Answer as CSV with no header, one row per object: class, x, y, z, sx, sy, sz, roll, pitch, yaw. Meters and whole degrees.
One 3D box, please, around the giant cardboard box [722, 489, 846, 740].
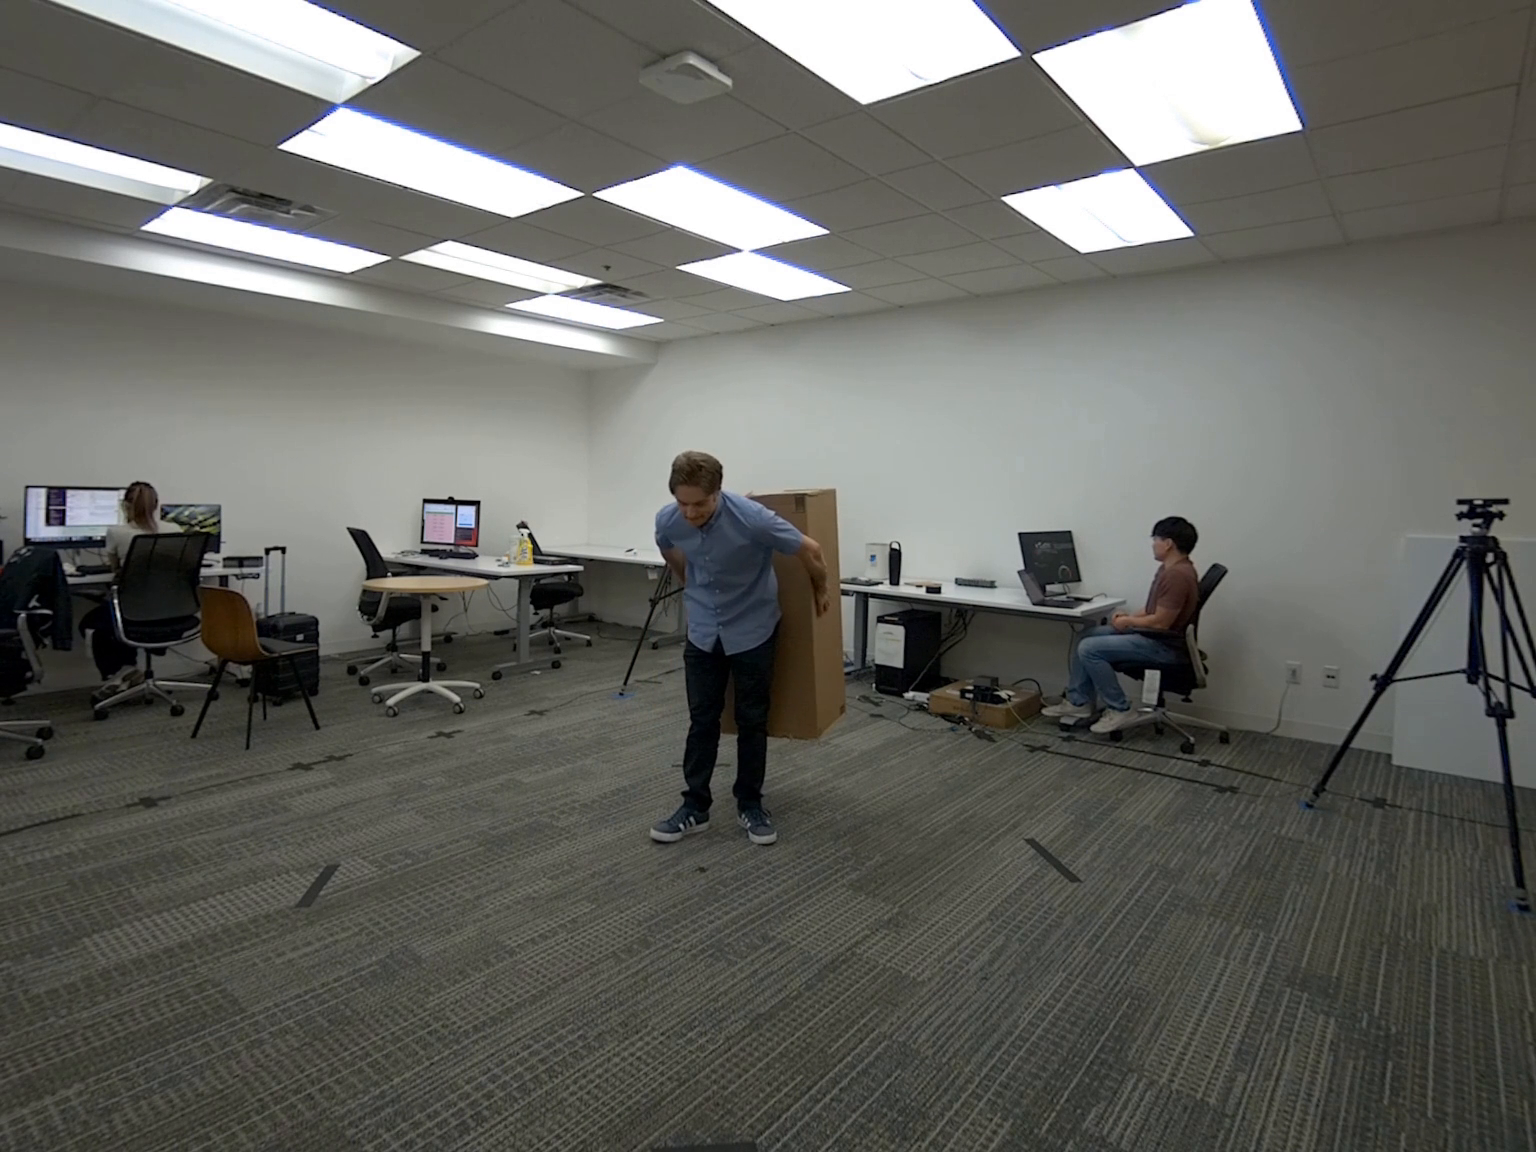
giant cardboard box,-0.022,0.144,3.750,0.597,1.023,0.438,-1,4,23
